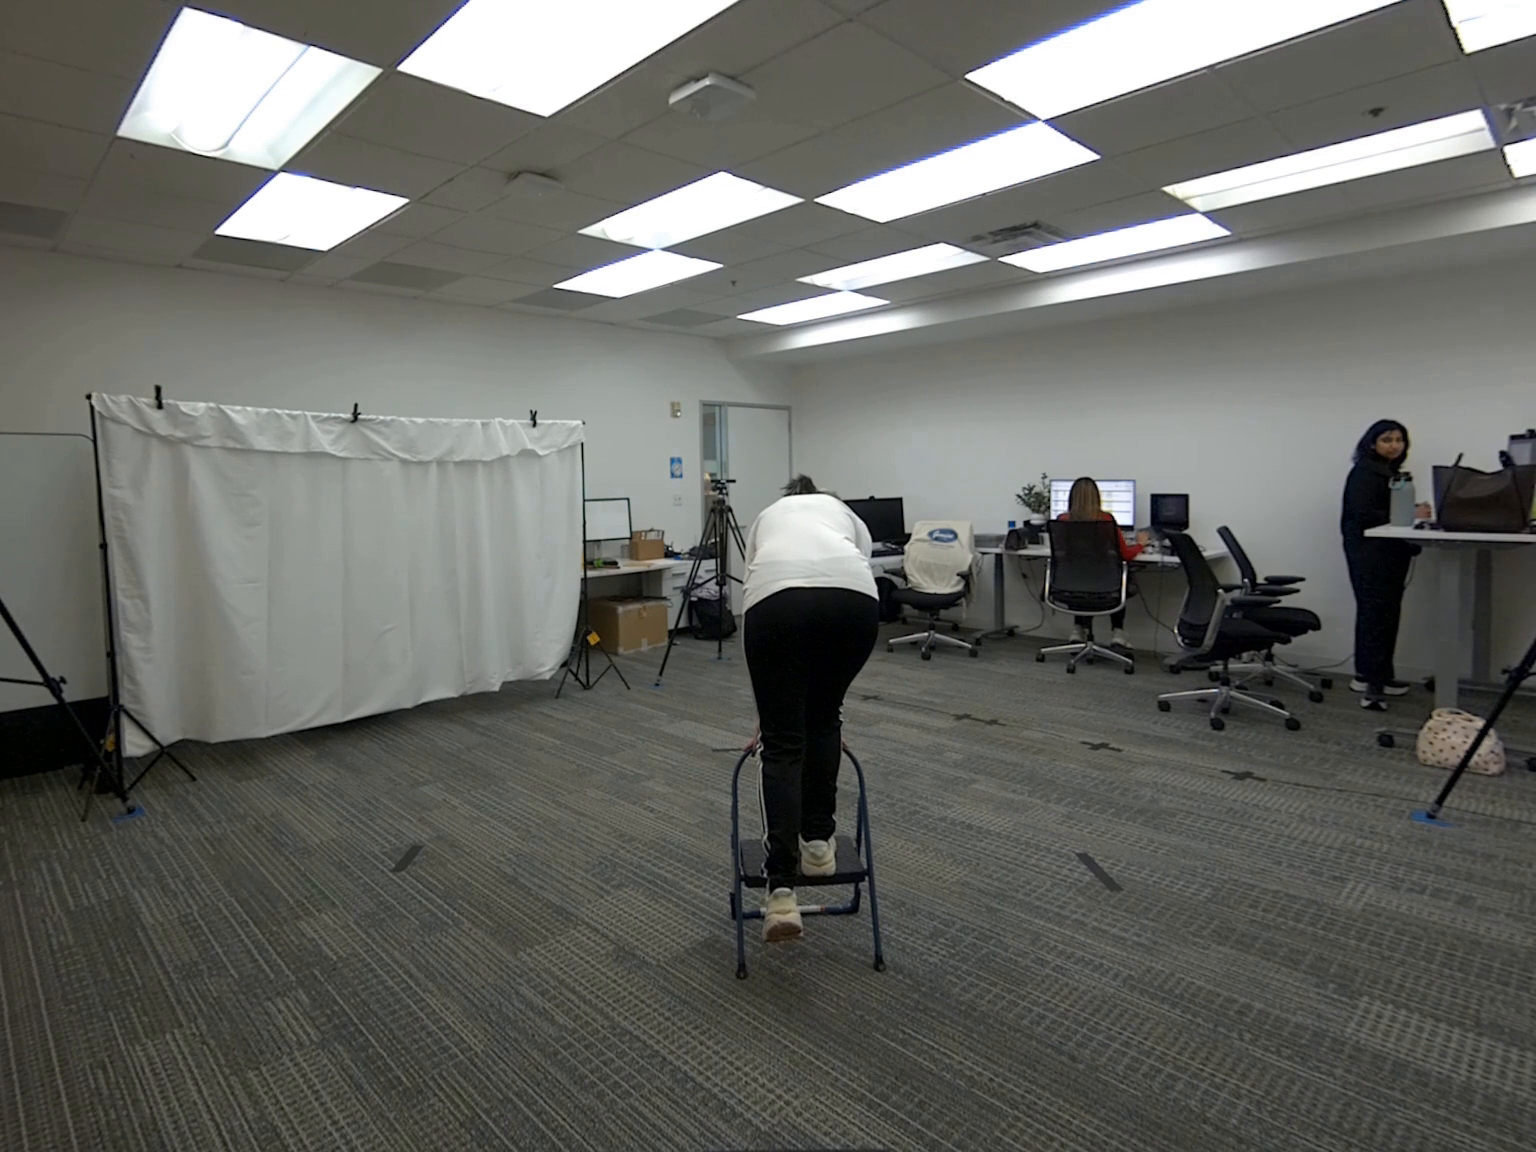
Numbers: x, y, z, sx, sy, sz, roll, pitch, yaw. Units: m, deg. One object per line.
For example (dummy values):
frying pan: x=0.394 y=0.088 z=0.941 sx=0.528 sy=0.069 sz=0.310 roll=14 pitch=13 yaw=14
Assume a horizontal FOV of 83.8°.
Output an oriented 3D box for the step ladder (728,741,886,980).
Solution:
step ladder: x=0.102 y=0.809 z=2.565 sx=0.429 sy=0.604 sz=0.352 roll=-2 pitch=4 yaw=-5
